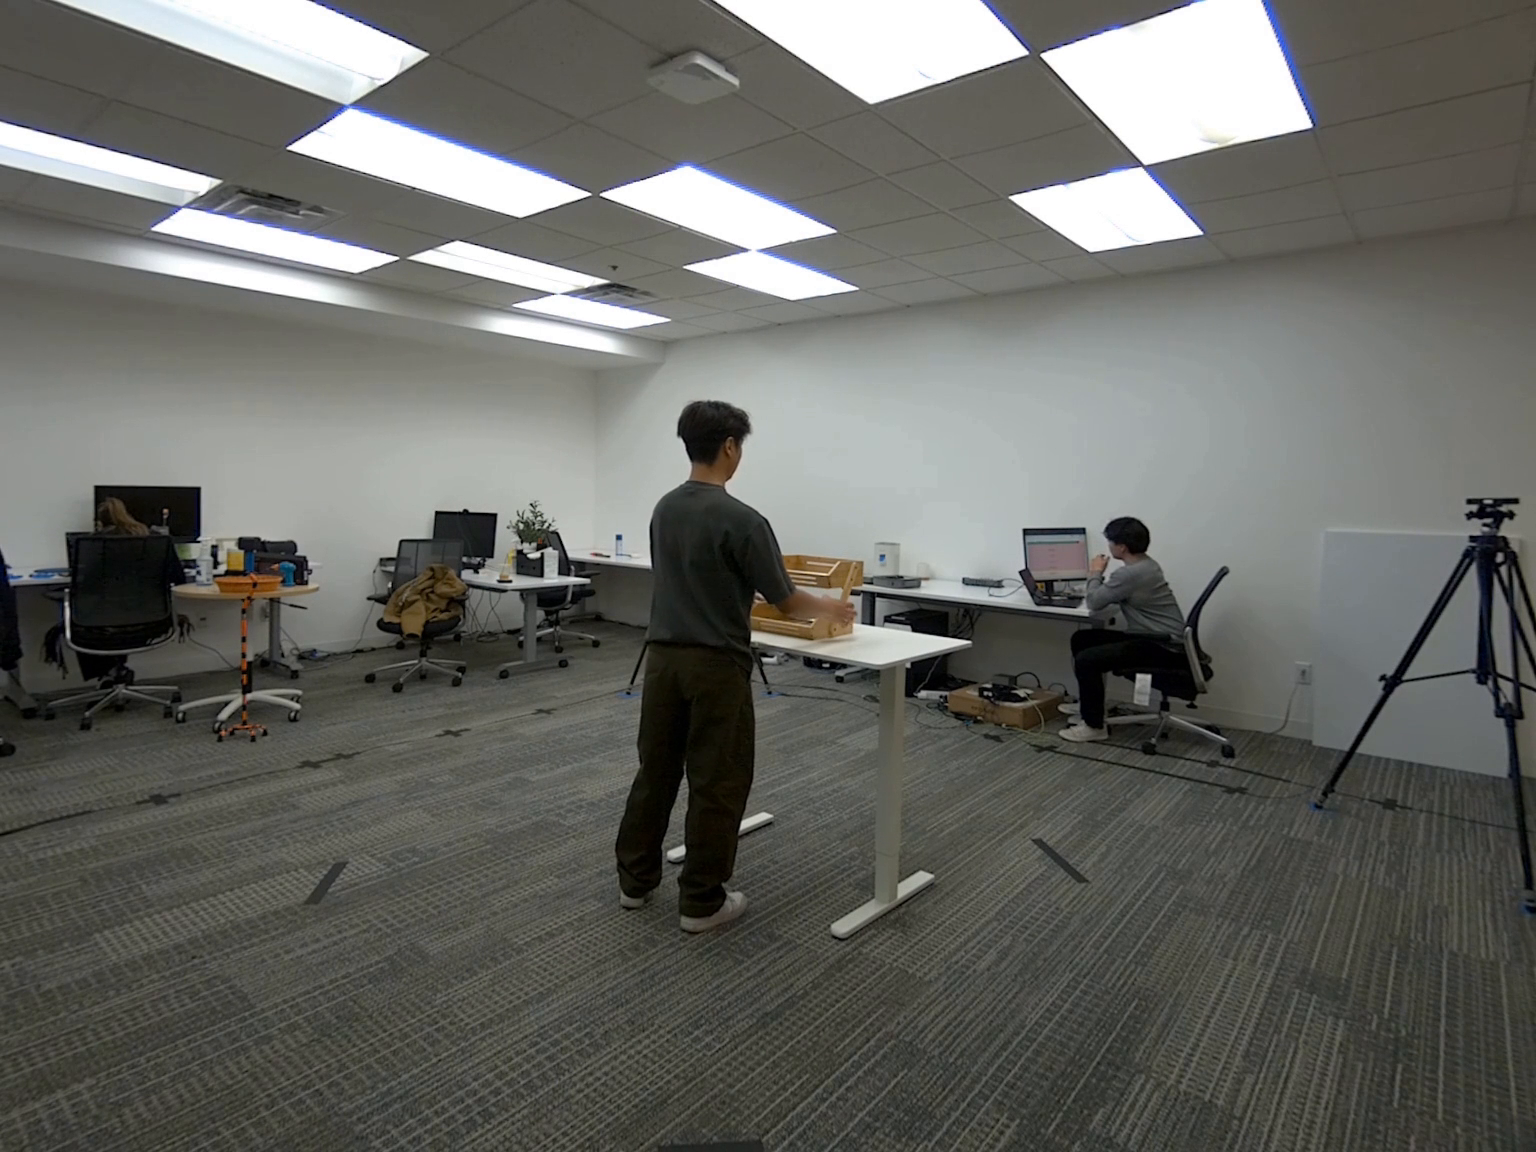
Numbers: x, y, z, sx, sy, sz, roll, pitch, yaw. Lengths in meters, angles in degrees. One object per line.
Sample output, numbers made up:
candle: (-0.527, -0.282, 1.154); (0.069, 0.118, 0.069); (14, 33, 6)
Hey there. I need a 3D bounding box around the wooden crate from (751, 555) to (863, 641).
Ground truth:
wooden crate: (0.122, 0.062, 3.071); (0.336, 0.272, 0.293); (6, 6, 40)
